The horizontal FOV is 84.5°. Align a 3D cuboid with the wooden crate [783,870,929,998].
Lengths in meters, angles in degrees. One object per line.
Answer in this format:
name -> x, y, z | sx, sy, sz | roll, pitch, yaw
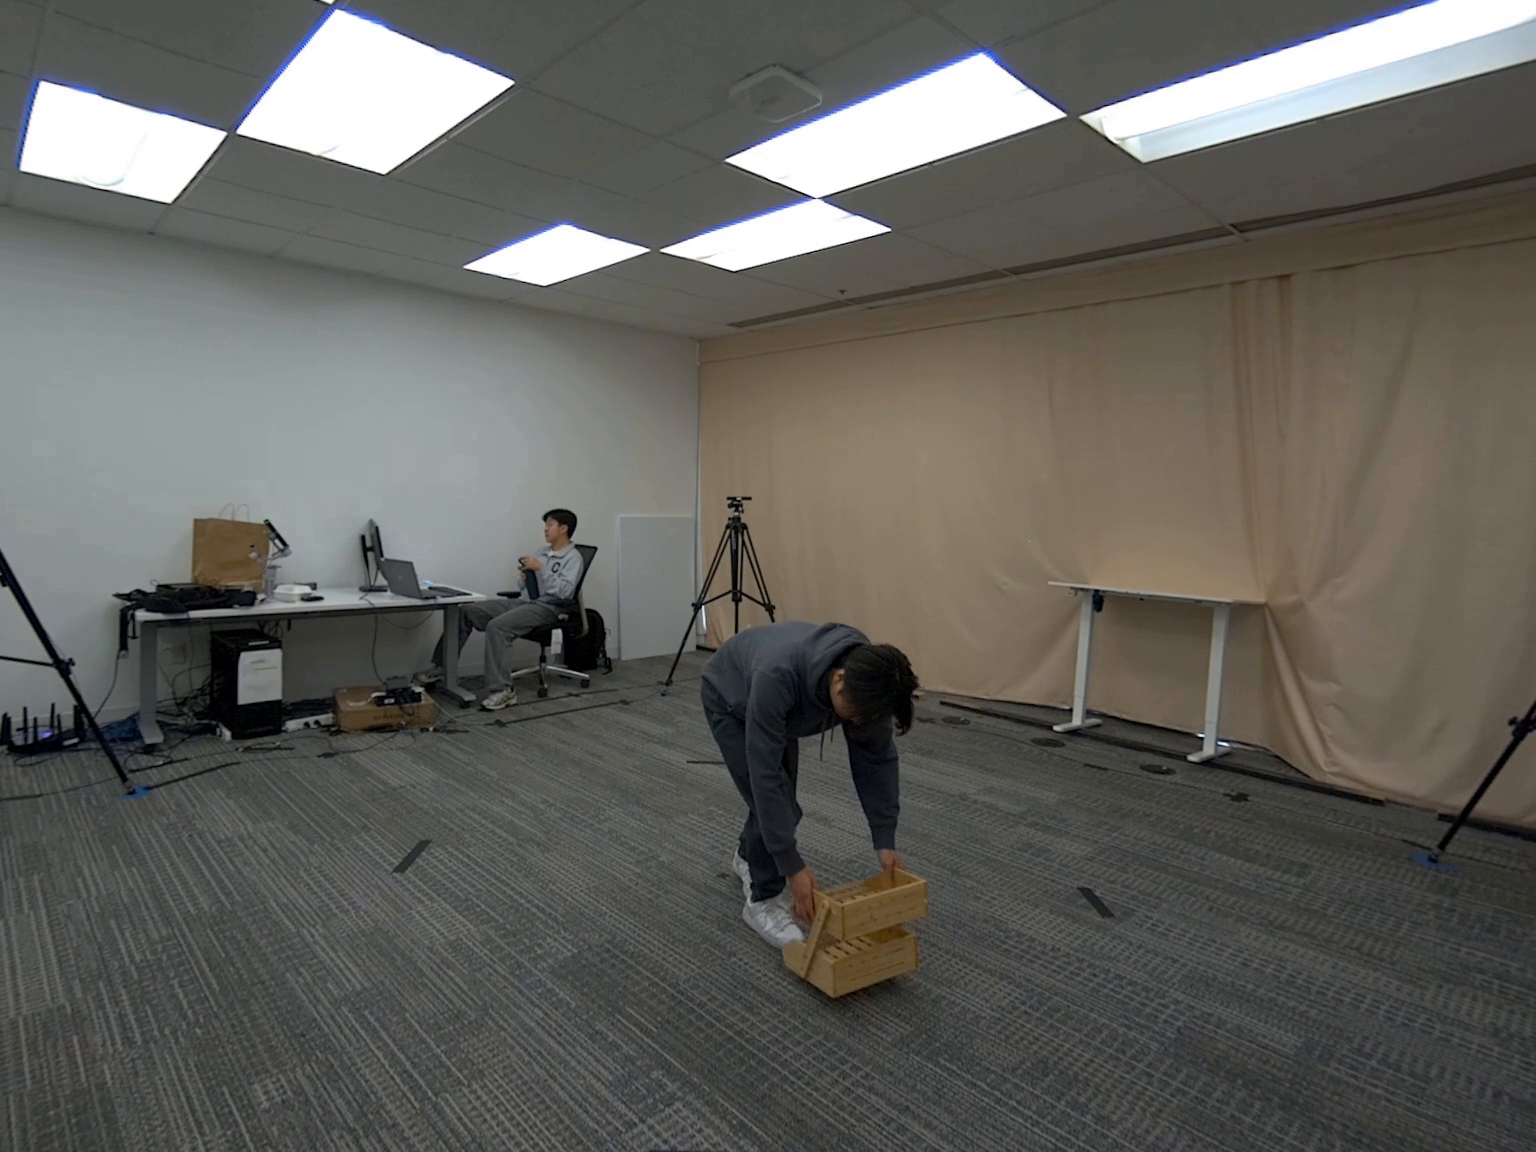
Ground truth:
wooden crate -> 0.239, 0.985, 2.401 | 0.318, 0.273, 0.308 | -2, -1, -32
